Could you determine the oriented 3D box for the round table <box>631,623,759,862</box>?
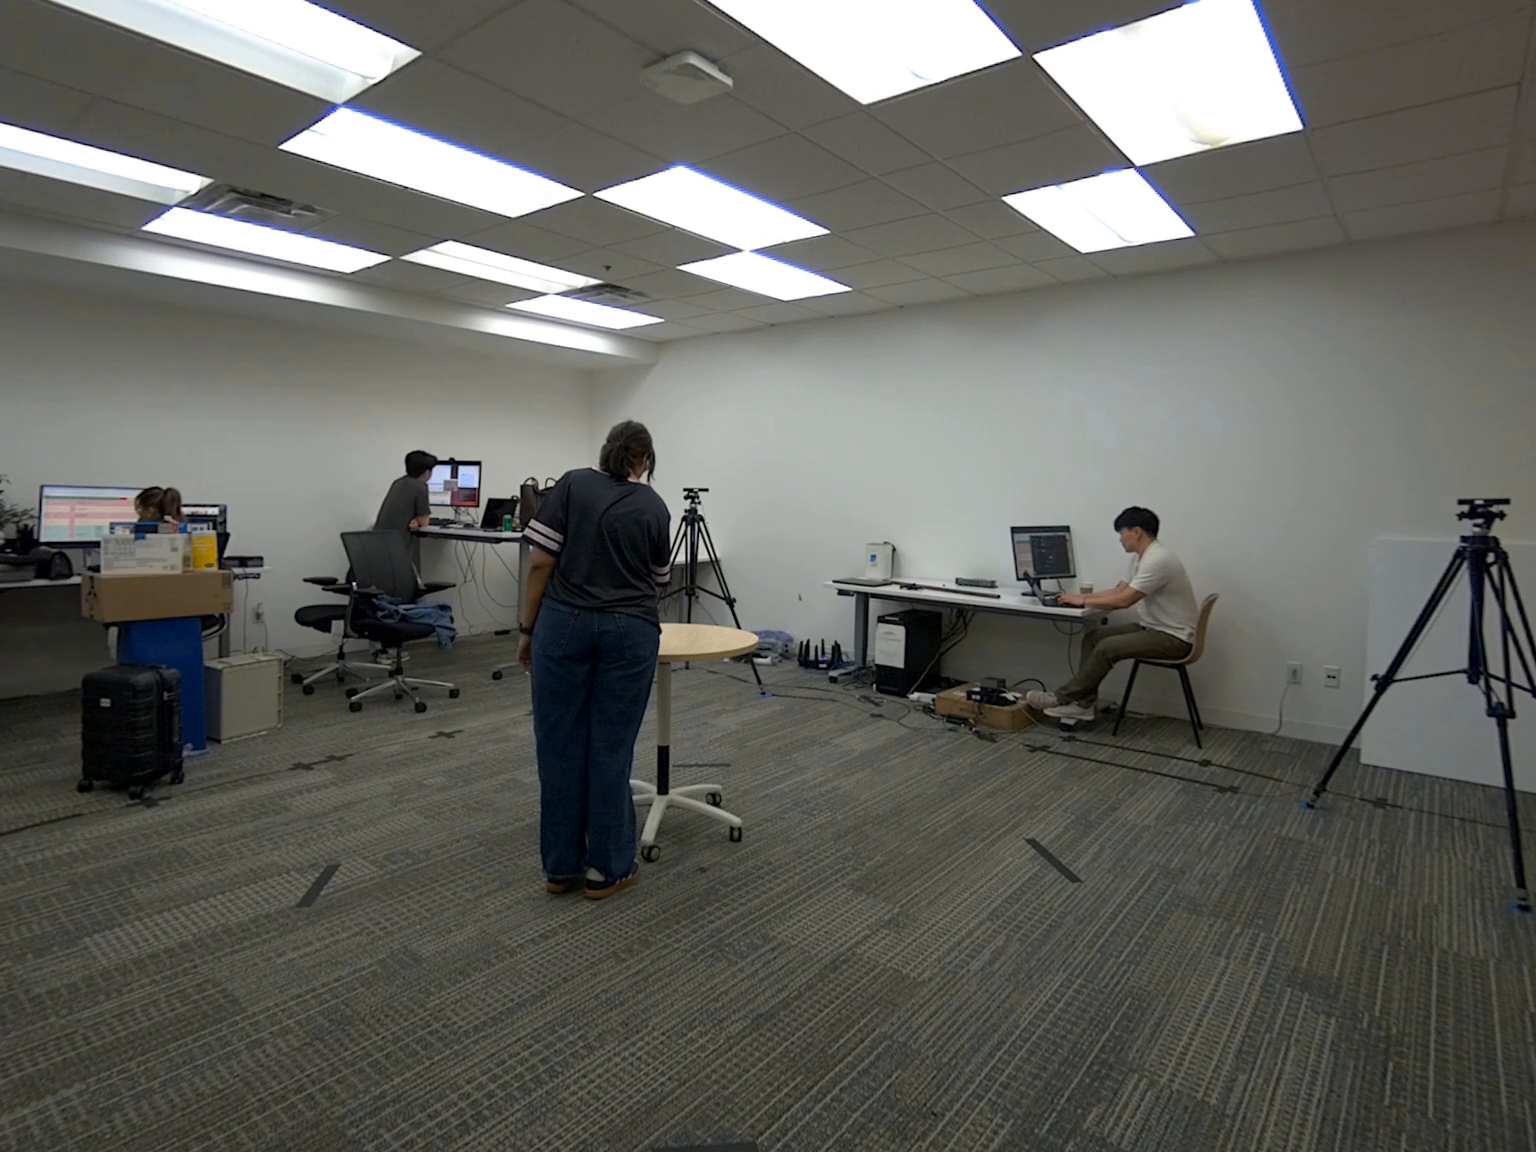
[{"bbox_3d":[-0.450,0.637,3.483,0.784,0.784,0.789,1,4,-2],"label":"round table"}]
